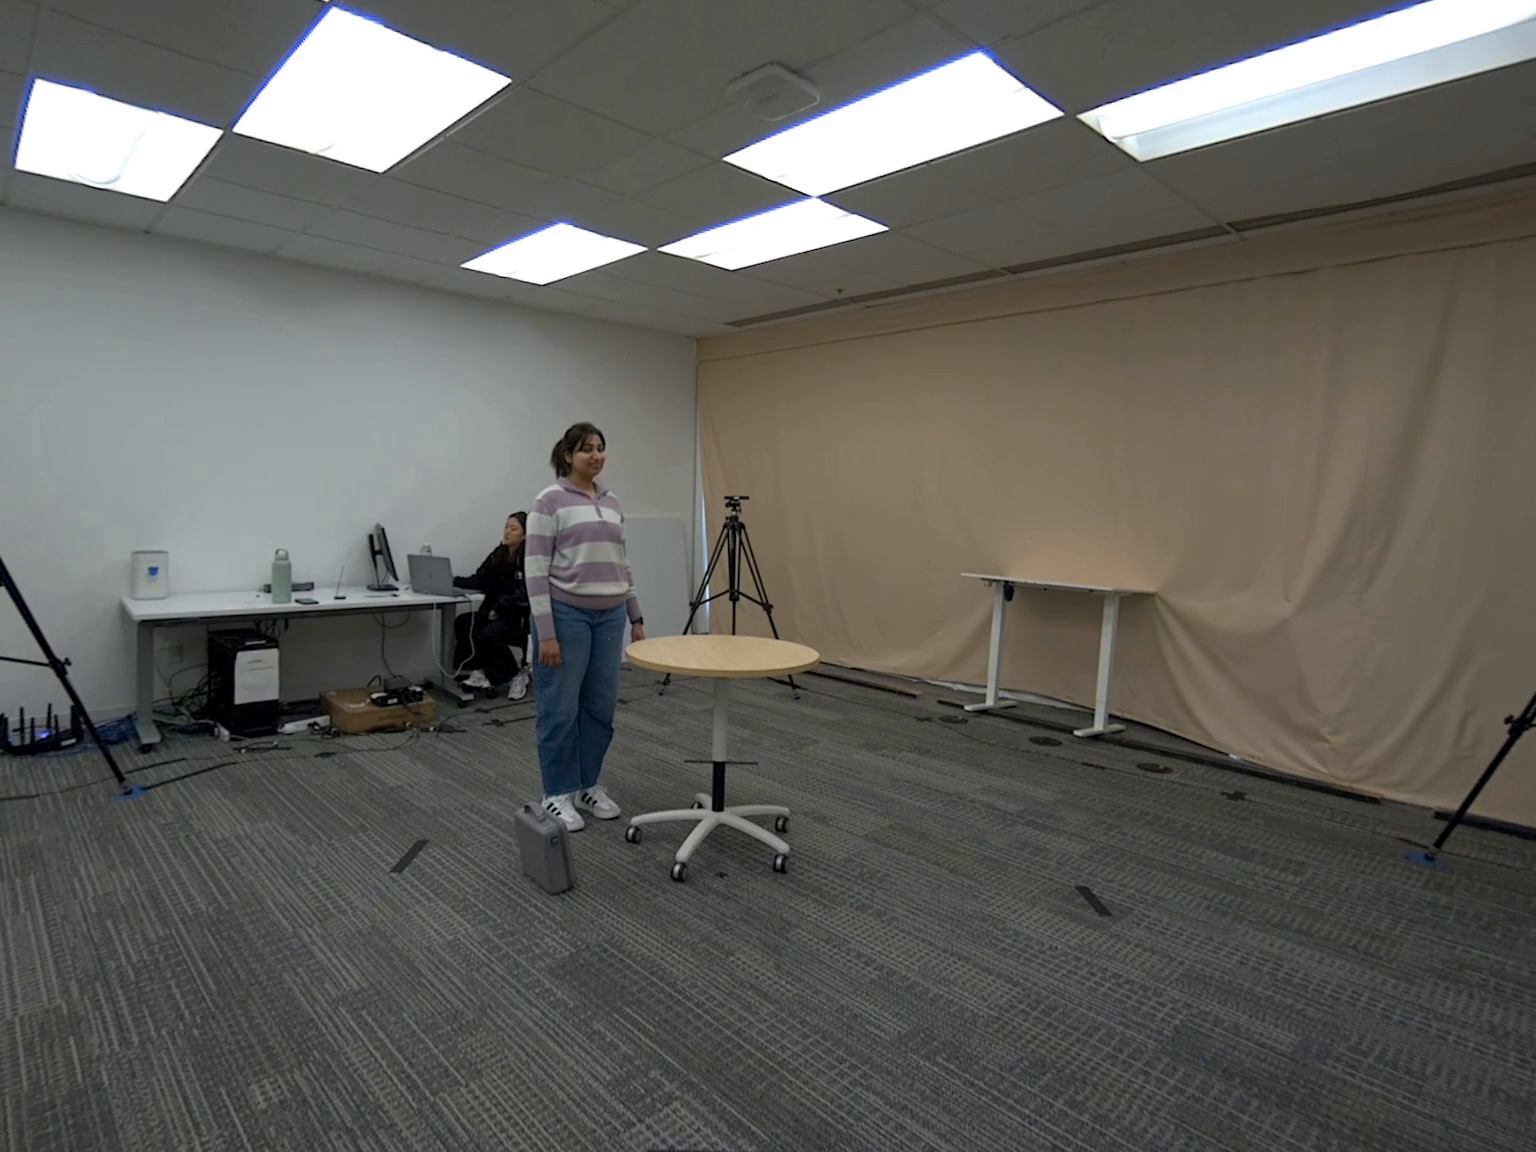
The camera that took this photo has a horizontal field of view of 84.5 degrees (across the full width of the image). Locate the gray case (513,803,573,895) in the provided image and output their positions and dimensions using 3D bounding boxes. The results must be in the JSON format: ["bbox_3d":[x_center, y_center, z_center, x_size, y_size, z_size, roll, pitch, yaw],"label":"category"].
[{"bbox_3d":[-0.803,0.967,3.002,0.102,0.259,0.263,-13,12,-37],"label":"gray case"}]
